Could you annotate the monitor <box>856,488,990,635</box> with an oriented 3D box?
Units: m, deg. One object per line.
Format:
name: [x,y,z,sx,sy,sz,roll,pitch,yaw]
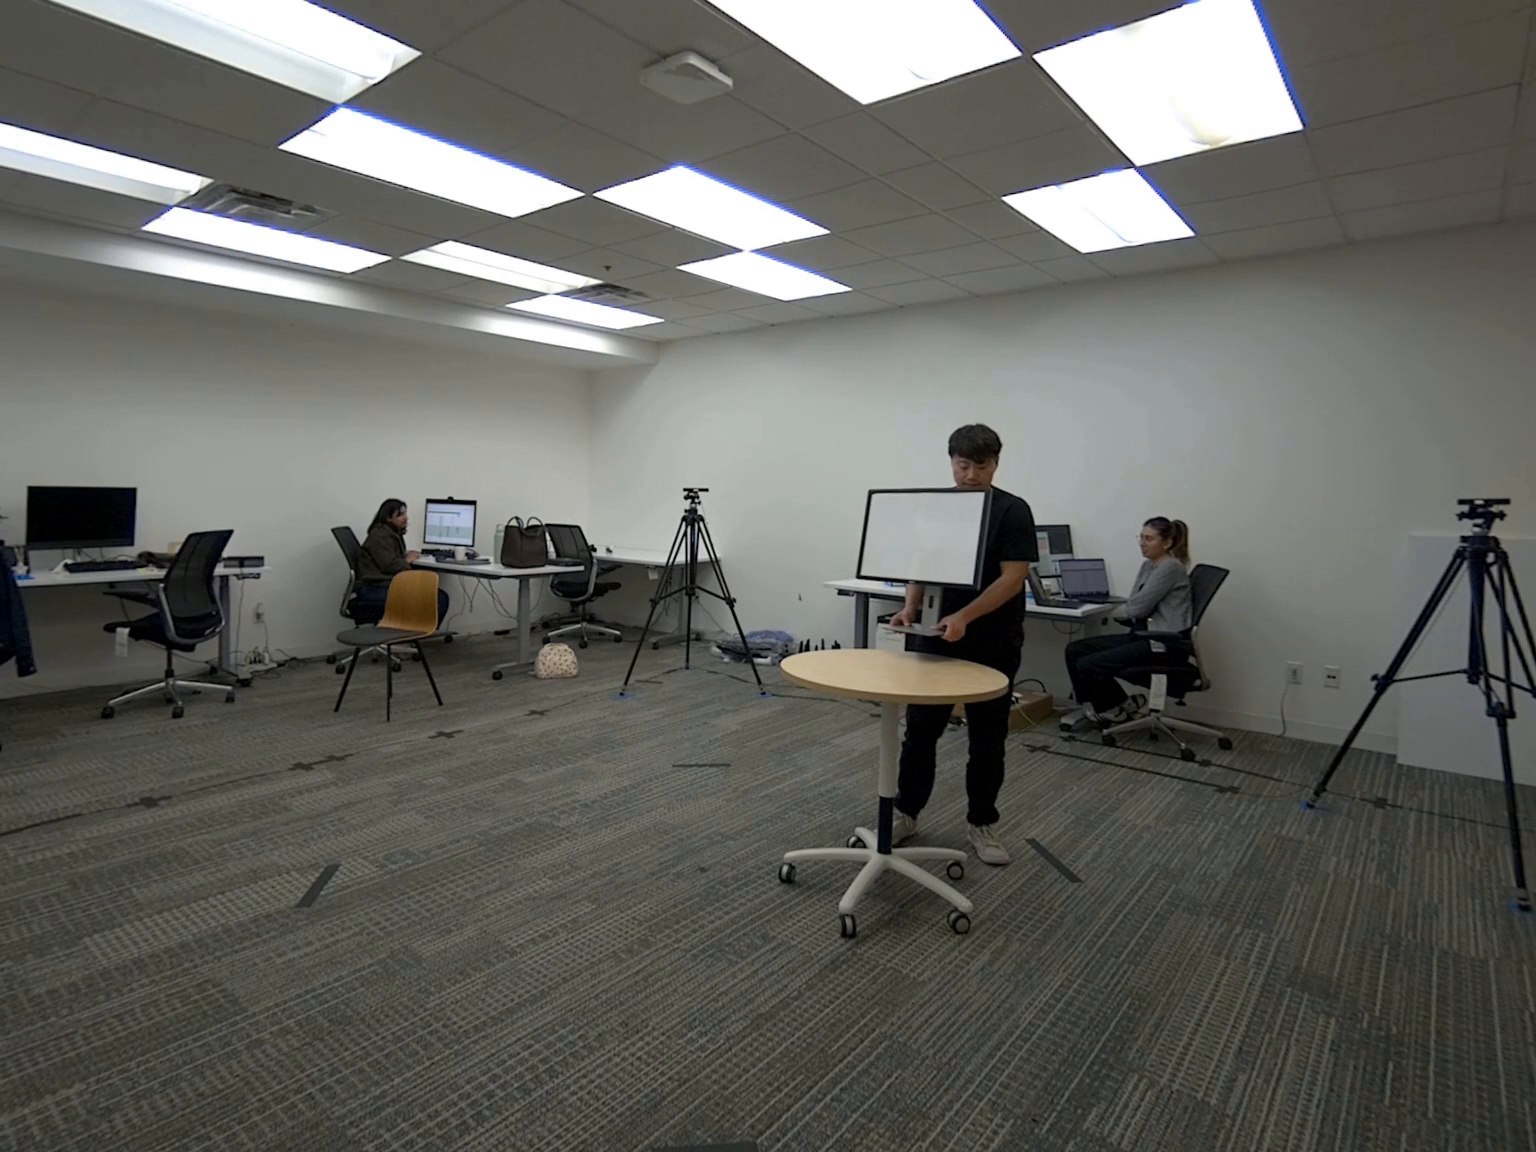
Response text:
monitor: [0.581,-0.064,3.199,0.181,0.521,0.557,-2,4,-41]
